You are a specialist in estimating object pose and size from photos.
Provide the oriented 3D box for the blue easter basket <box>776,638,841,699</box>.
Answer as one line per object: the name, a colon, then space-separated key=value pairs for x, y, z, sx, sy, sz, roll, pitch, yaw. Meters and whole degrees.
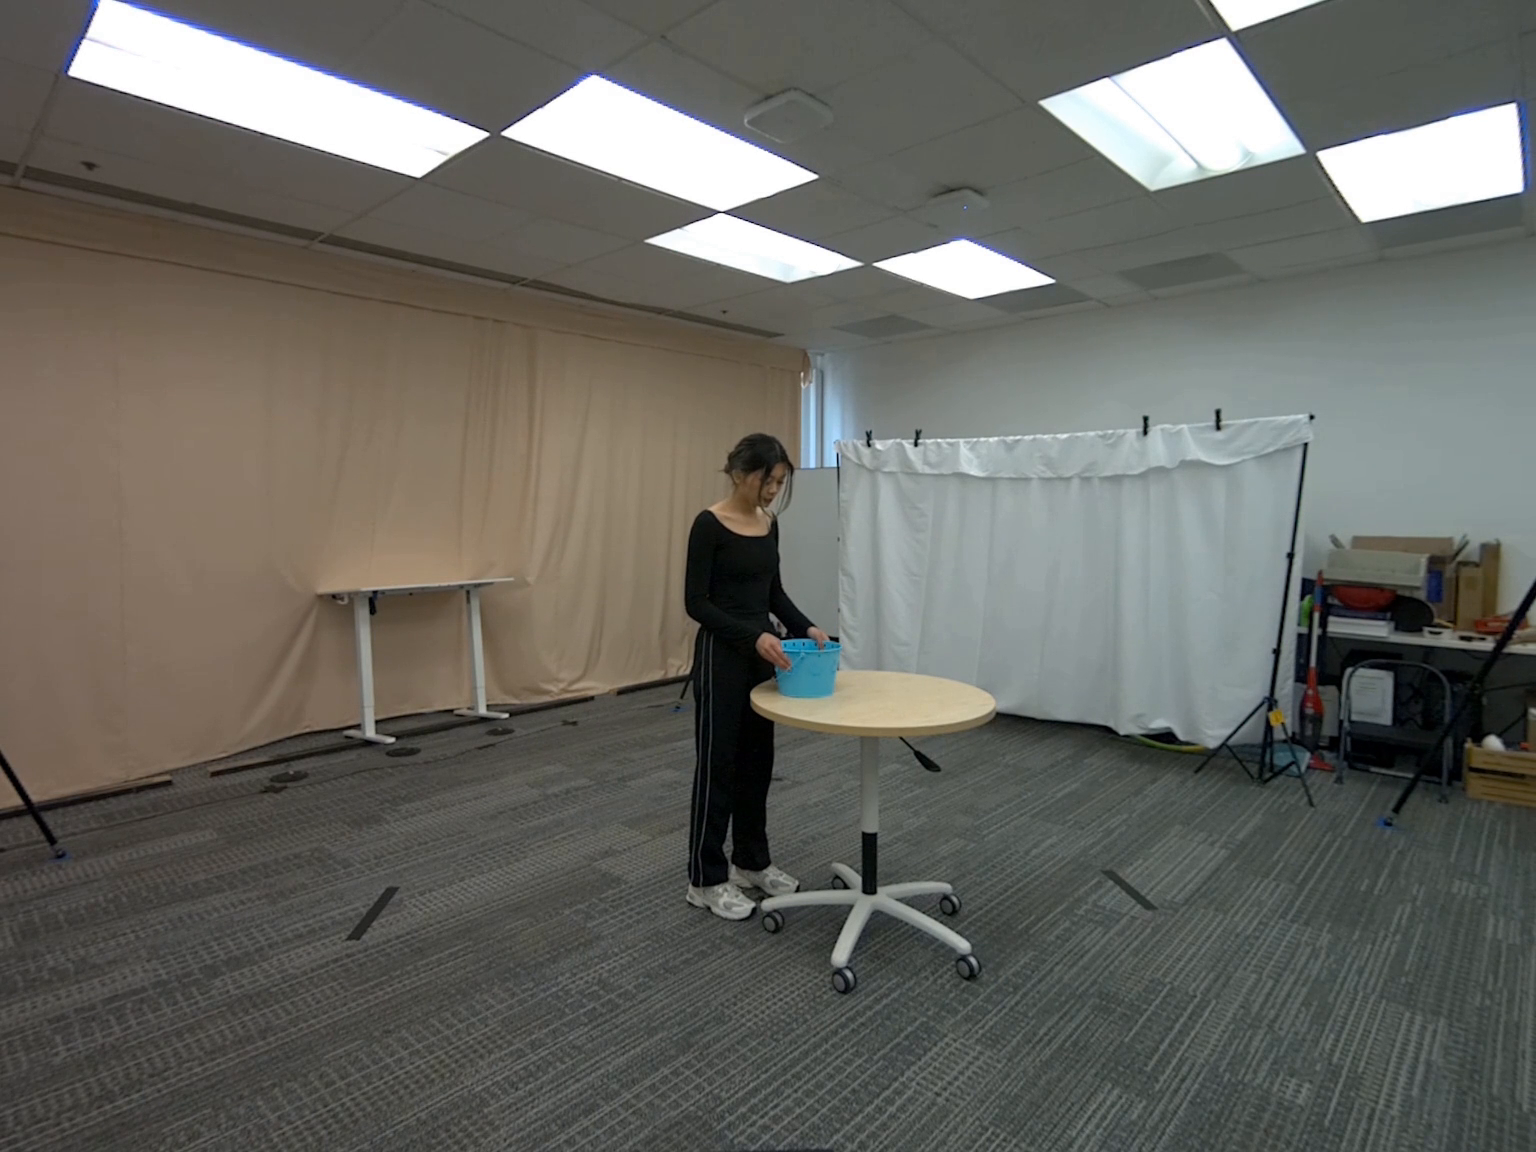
blue easter basket: x=0.120 y=0.306 z=2.739 sx=0.243 sy=0.155 sz=0.244 roll=0 pitch=3 yaw=-2
